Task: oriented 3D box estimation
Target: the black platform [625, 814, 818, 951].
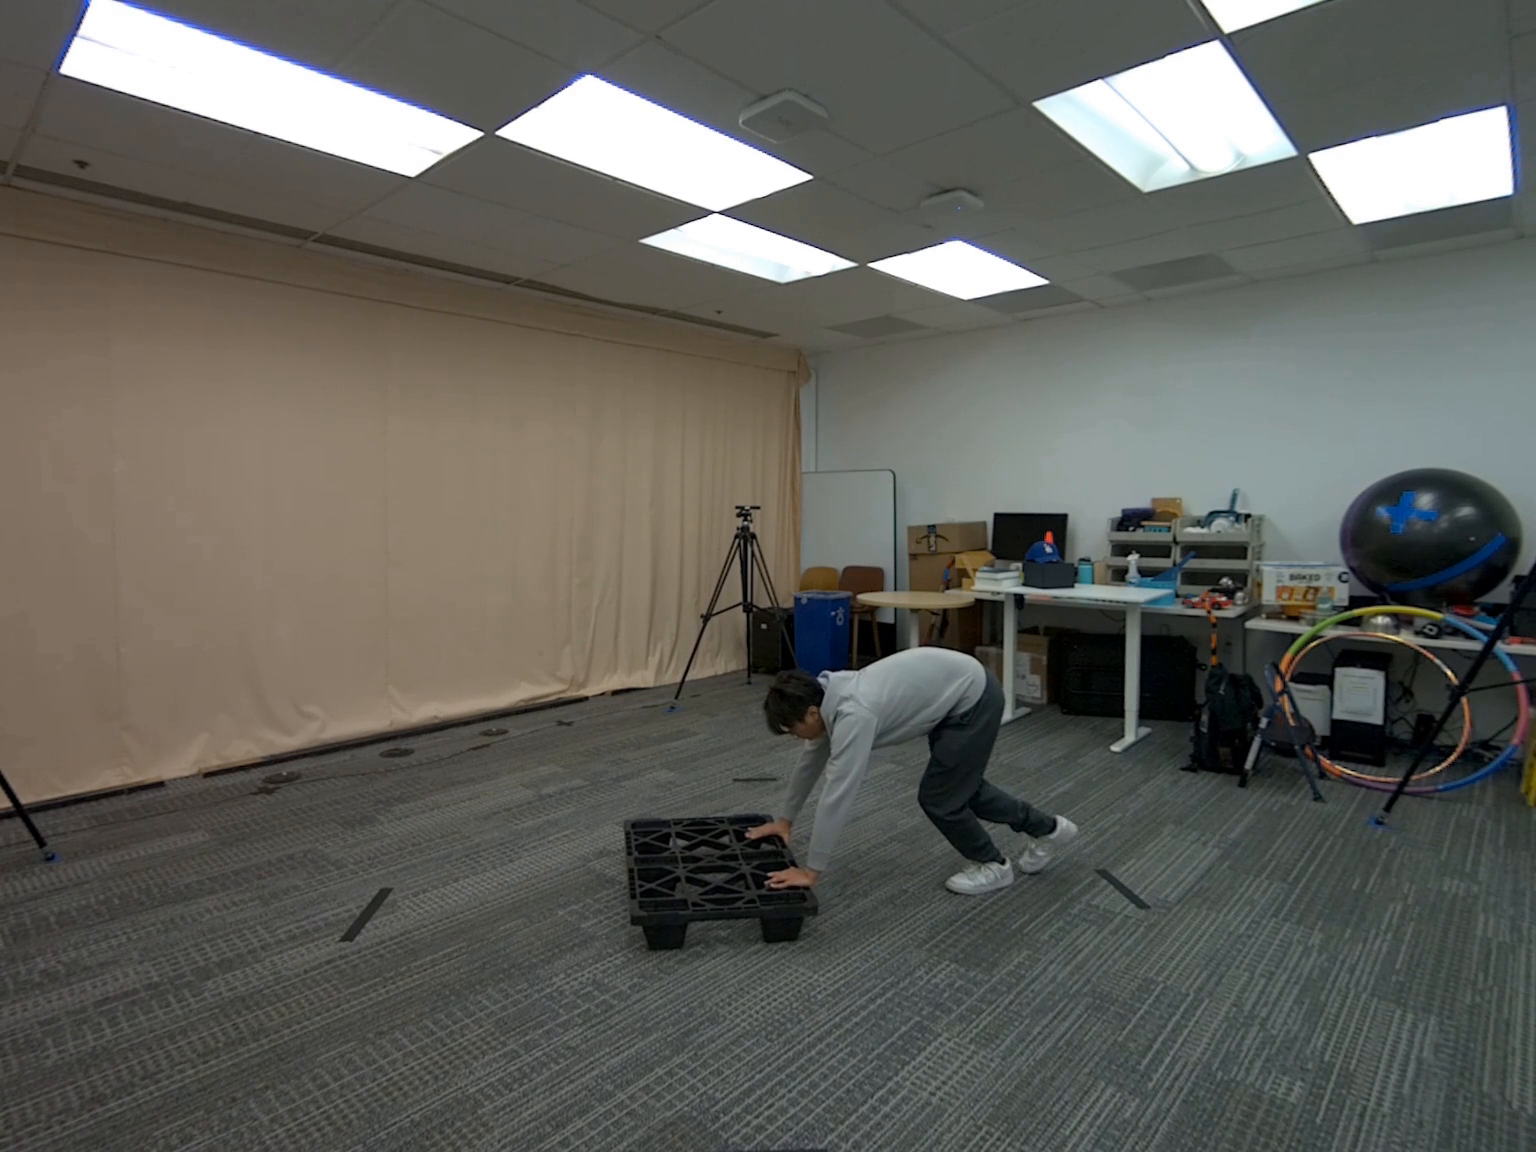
[{"bbox_3d":[-0.205,1.073,3.016,0.599,0.143,0.815,-1,5,-10],"label":"black platform"}]
